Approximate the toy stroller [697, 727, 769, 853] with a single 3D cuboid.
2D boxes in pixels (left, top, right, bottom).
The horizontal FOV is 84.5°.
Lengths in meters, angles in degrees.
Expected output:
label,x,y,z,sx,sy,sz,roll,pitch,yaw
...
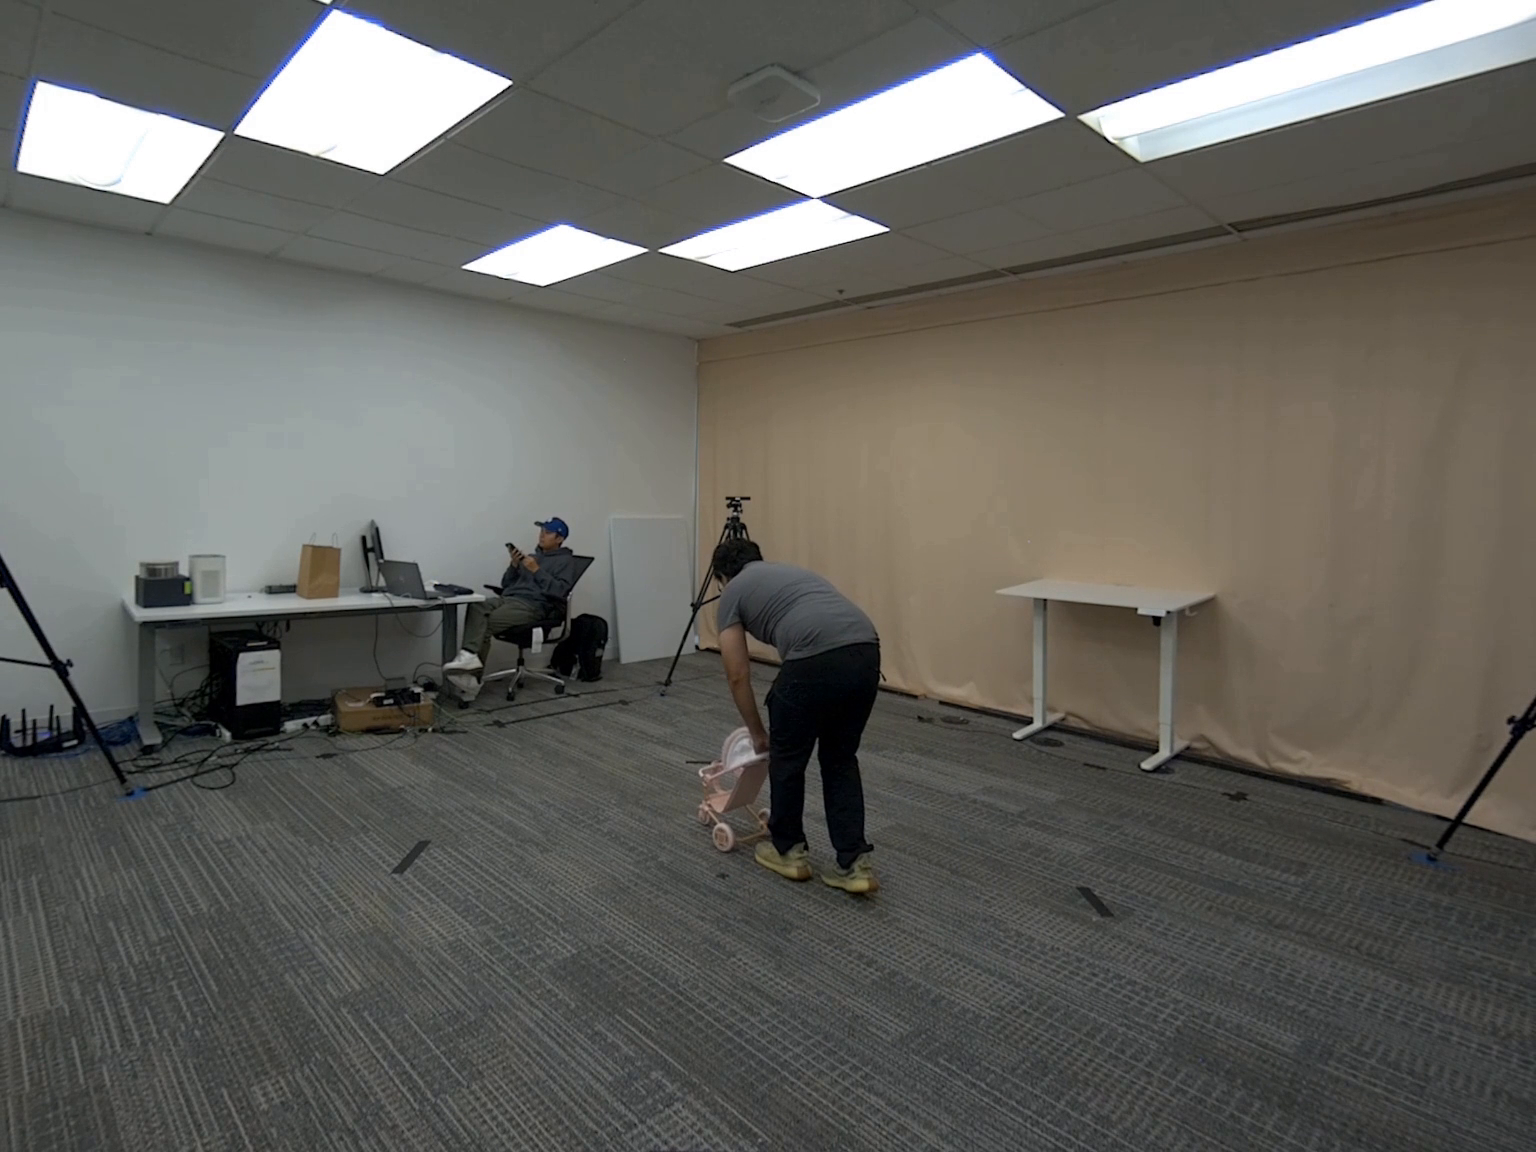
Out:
label,x,y,z,sx,sy,sz,roll,pitch,yaw
toy stroller,-0.134,0.851,3.445,0.275,0.530,0.352,-1,21,-41
